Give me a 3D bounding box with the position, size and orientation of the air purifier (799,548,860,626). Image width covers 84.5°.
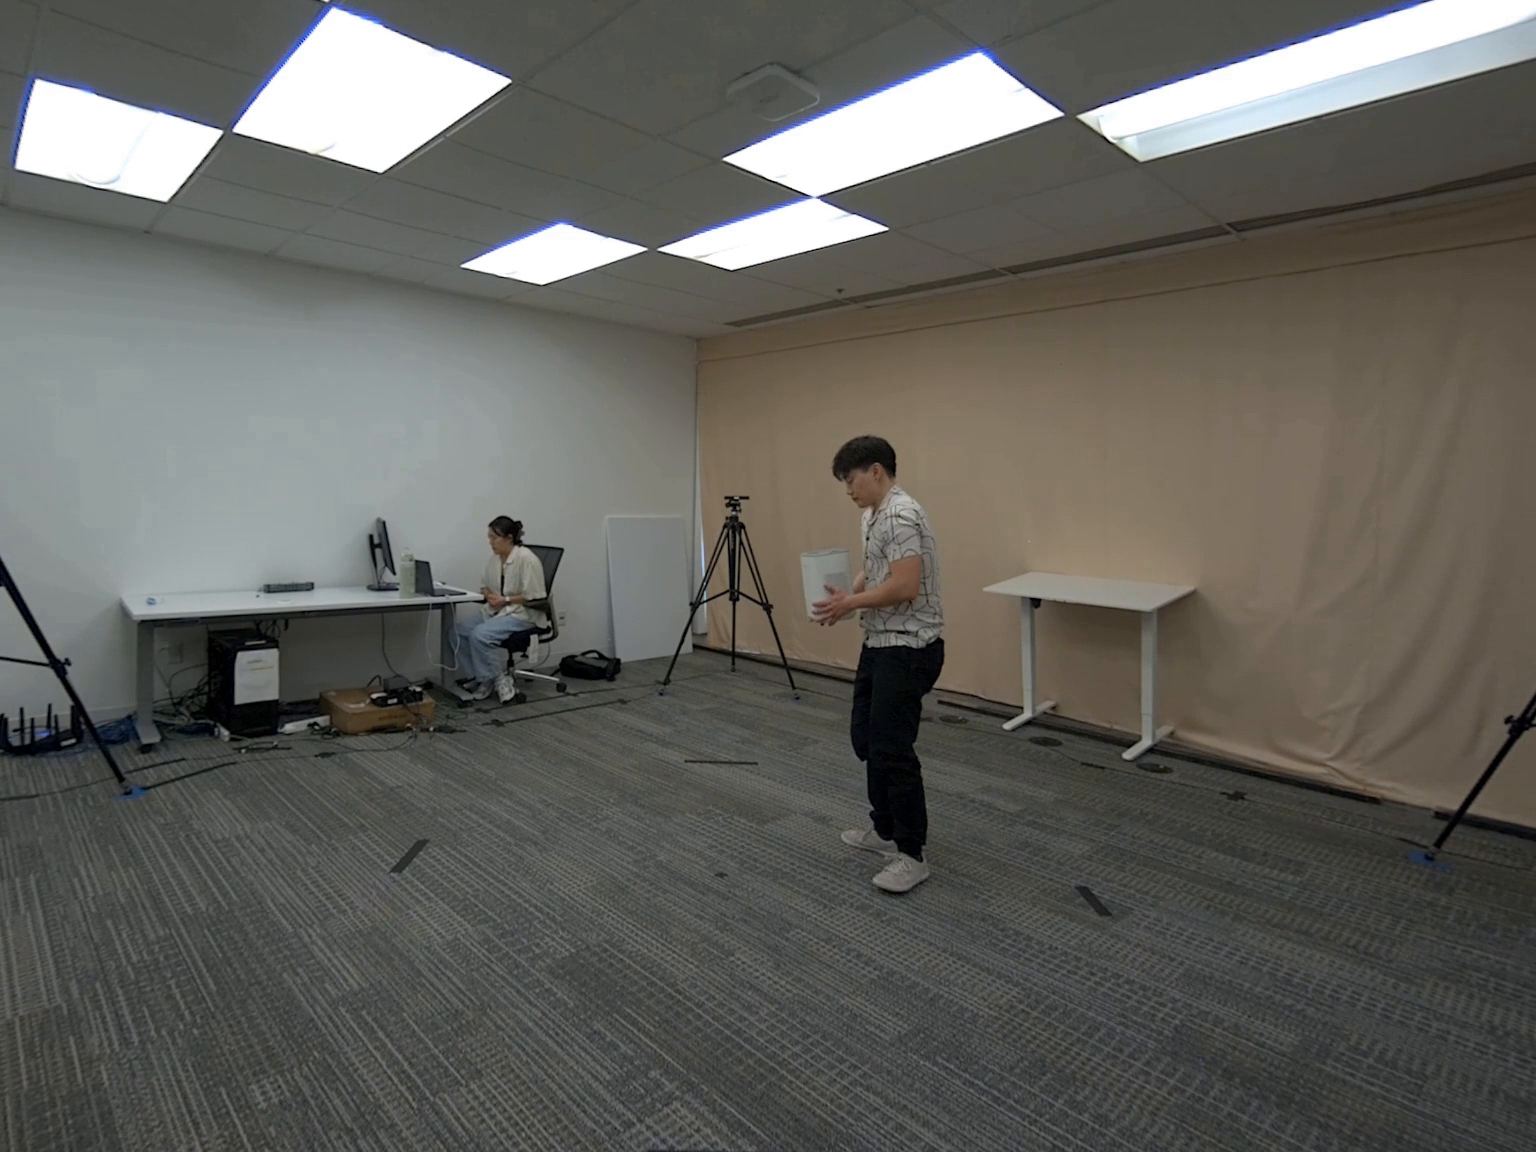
[{"bbox_3d":[0.239,0.036,3.252,0.170,0.265,0.173,-7,4,-12],"label":"air purifier"}]
